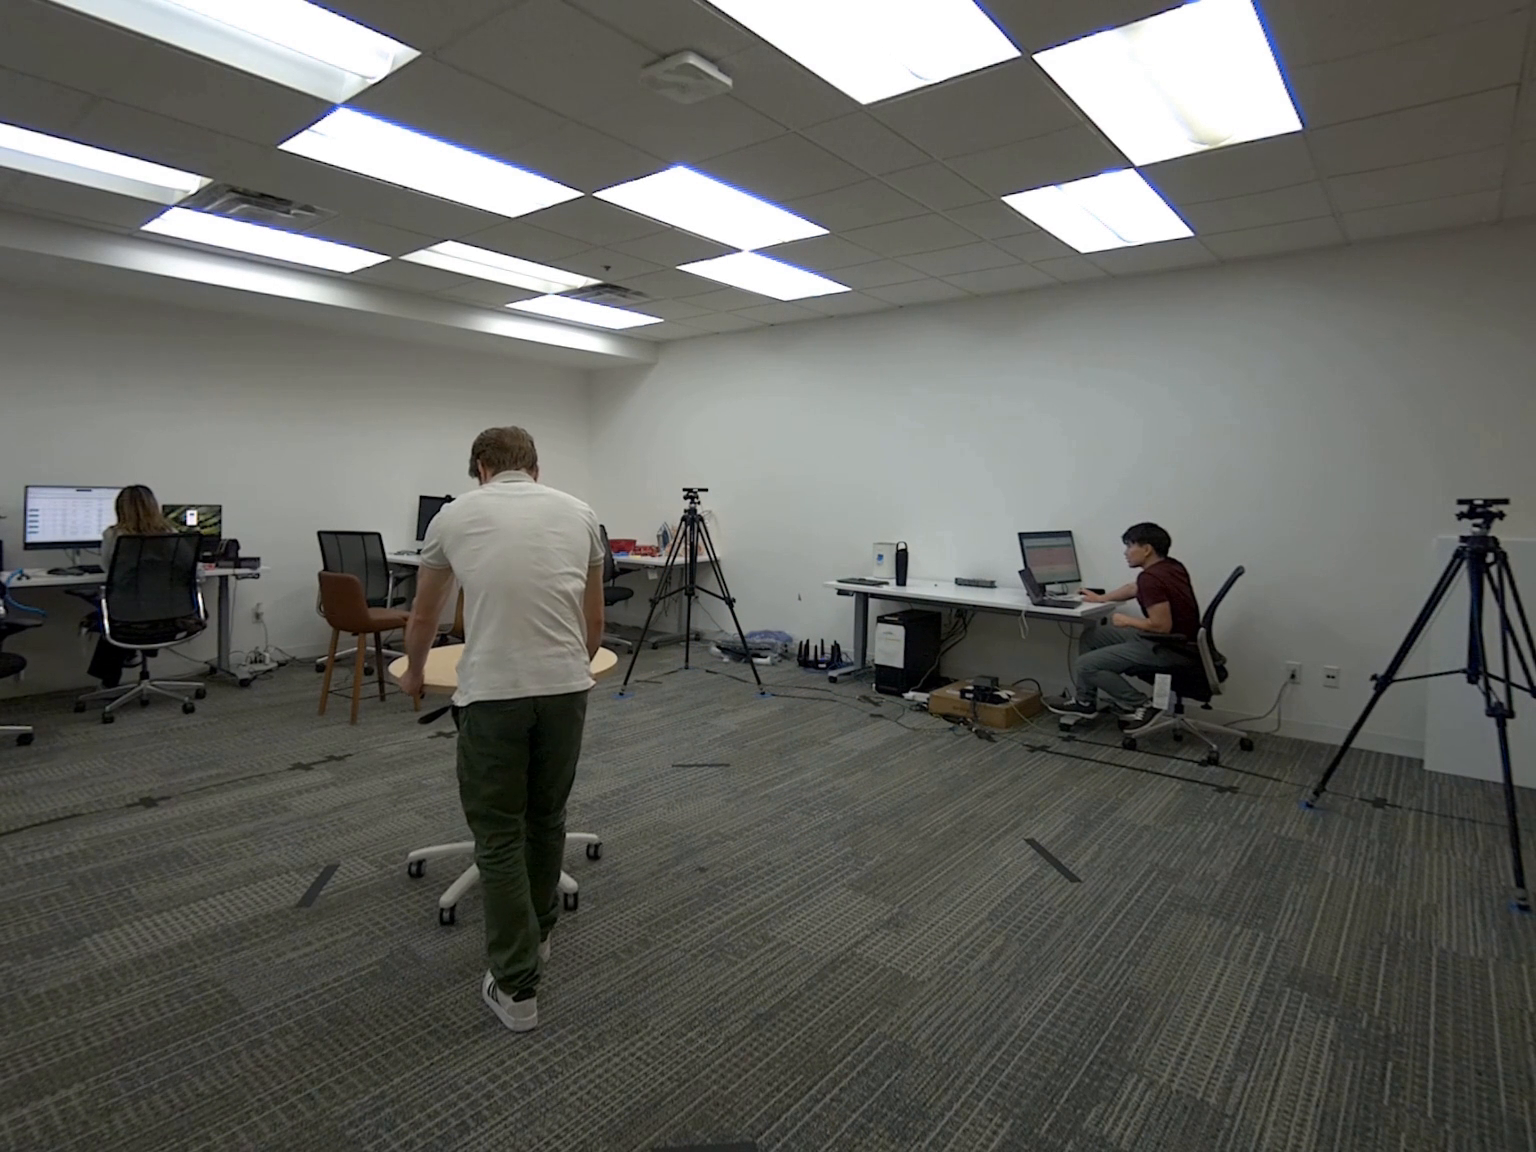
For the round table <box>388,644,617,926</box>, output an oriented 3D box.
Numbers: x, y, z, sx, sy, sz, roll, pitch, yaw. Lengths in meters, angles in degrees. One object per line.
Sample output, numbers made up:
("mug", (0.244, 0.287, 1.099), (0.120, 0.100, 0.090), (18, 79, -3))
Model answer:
("round table", (-0.905, 0.677, 2.962), (0.784, 0.783, 0.789), (0, 5, -2))
